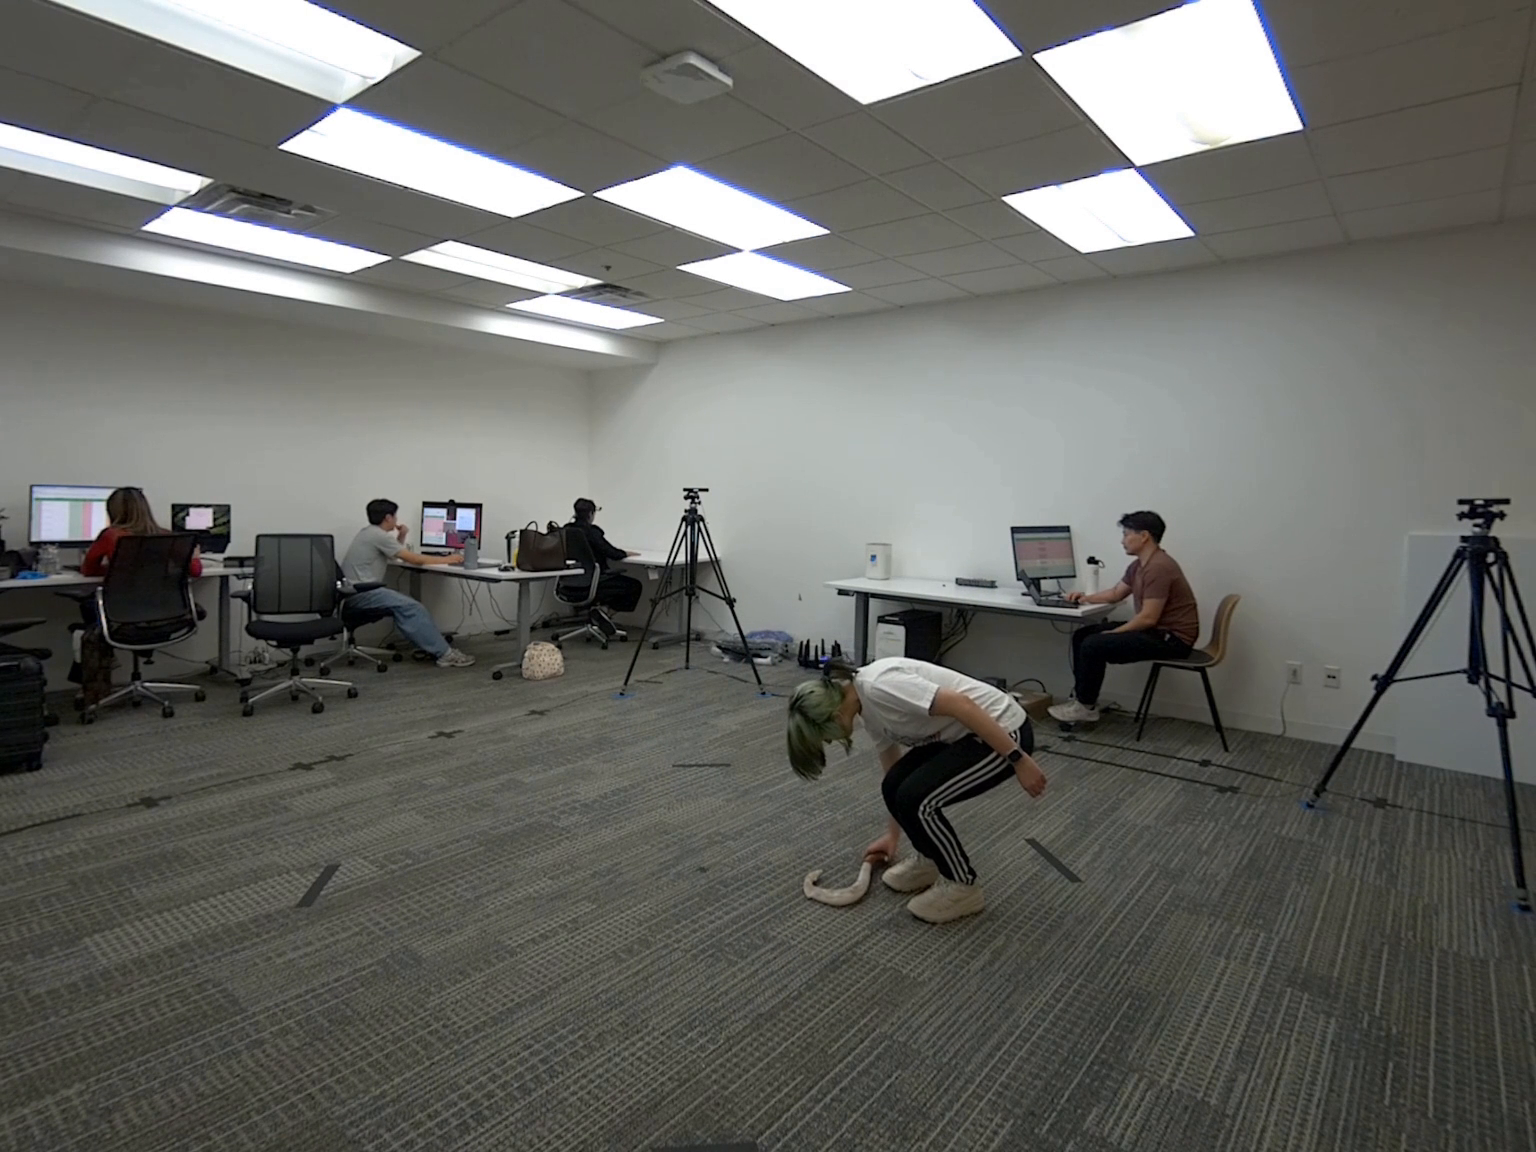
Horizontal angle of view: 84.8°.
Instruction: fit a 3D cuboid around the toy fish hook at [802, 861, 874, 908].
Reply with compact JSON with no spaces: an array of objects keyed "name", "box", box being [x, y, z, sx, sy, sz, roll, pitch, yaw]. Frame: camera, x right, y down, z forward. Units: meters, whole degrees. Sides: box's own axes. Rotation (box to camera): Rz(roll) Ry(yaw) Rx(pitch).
[{"name":"toy fish hook","box":[0.287,1.054,3.069,0.231,0.048,0.494,6,9,30]}]
